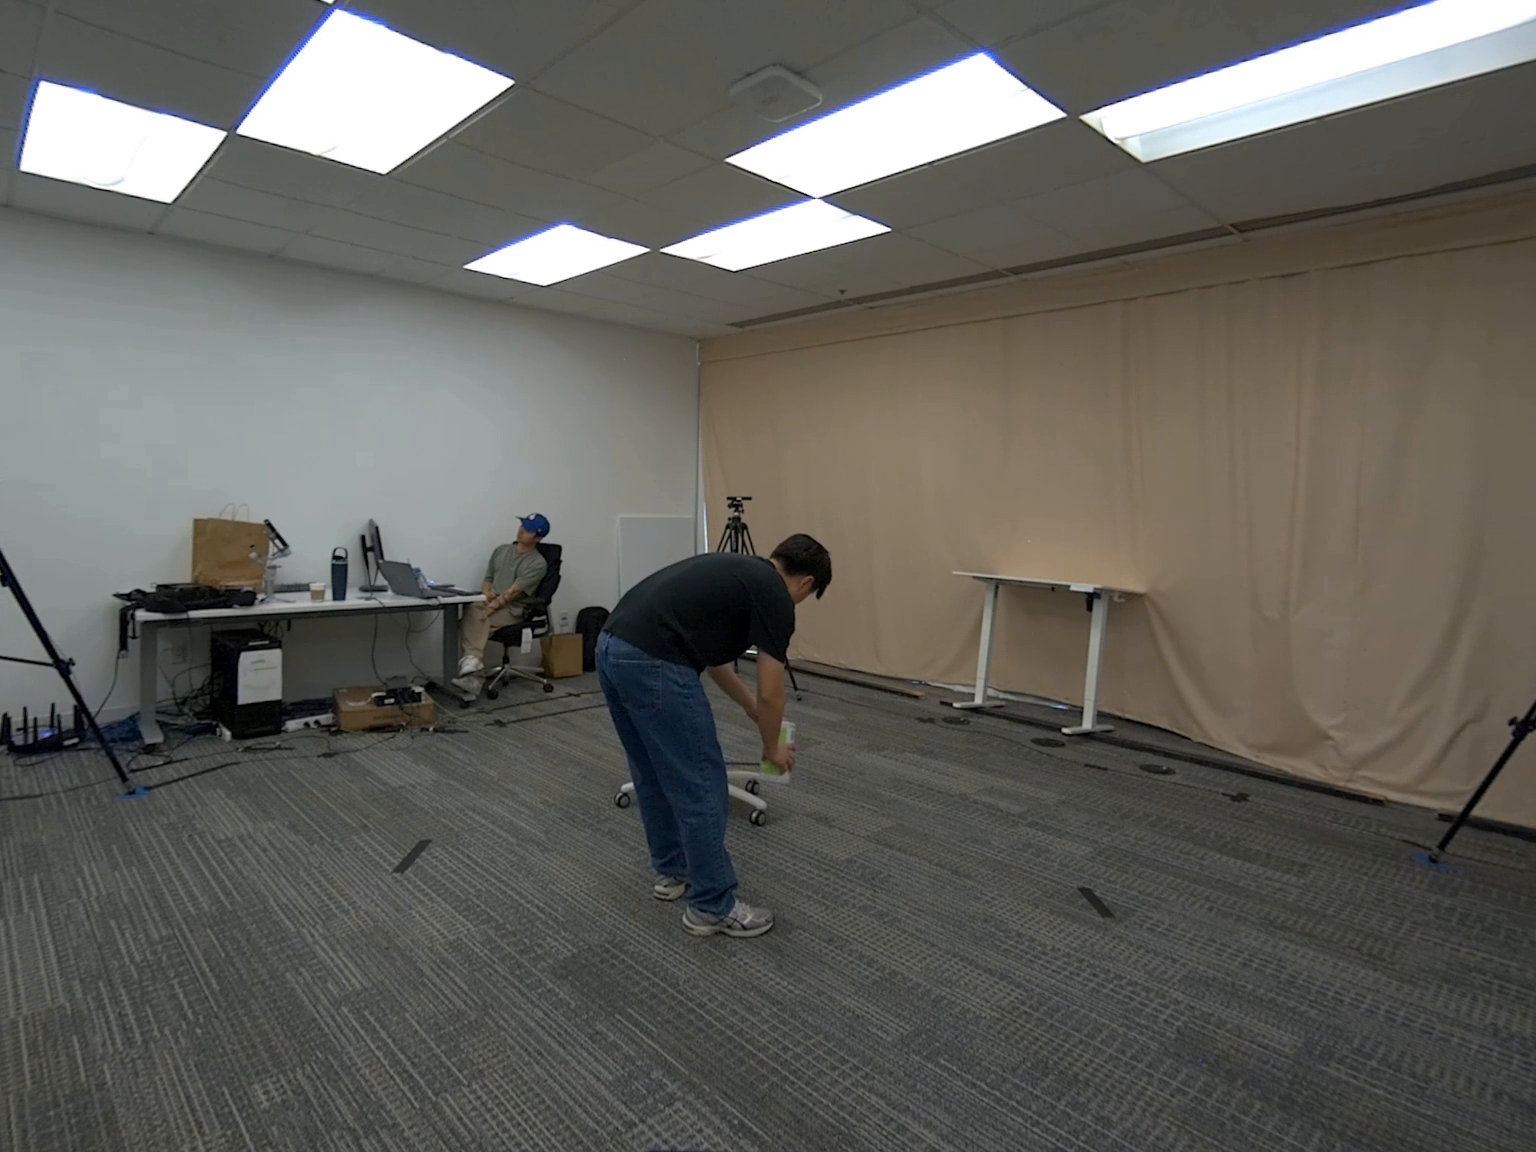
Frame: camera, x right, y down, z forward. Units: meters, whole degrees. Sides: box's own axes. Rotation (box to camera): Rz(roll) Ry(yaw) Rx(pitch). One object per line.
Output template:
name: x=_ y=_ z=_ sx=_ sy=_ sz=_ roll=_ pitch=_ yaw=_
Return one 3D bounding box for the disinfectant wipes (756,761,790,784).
disinfectant wipes: x=0.027 y=0.632 z=3.025 sx=0.118 sy=0.219 sz=0.117 roll=5 pitch=-12 yaw=0
